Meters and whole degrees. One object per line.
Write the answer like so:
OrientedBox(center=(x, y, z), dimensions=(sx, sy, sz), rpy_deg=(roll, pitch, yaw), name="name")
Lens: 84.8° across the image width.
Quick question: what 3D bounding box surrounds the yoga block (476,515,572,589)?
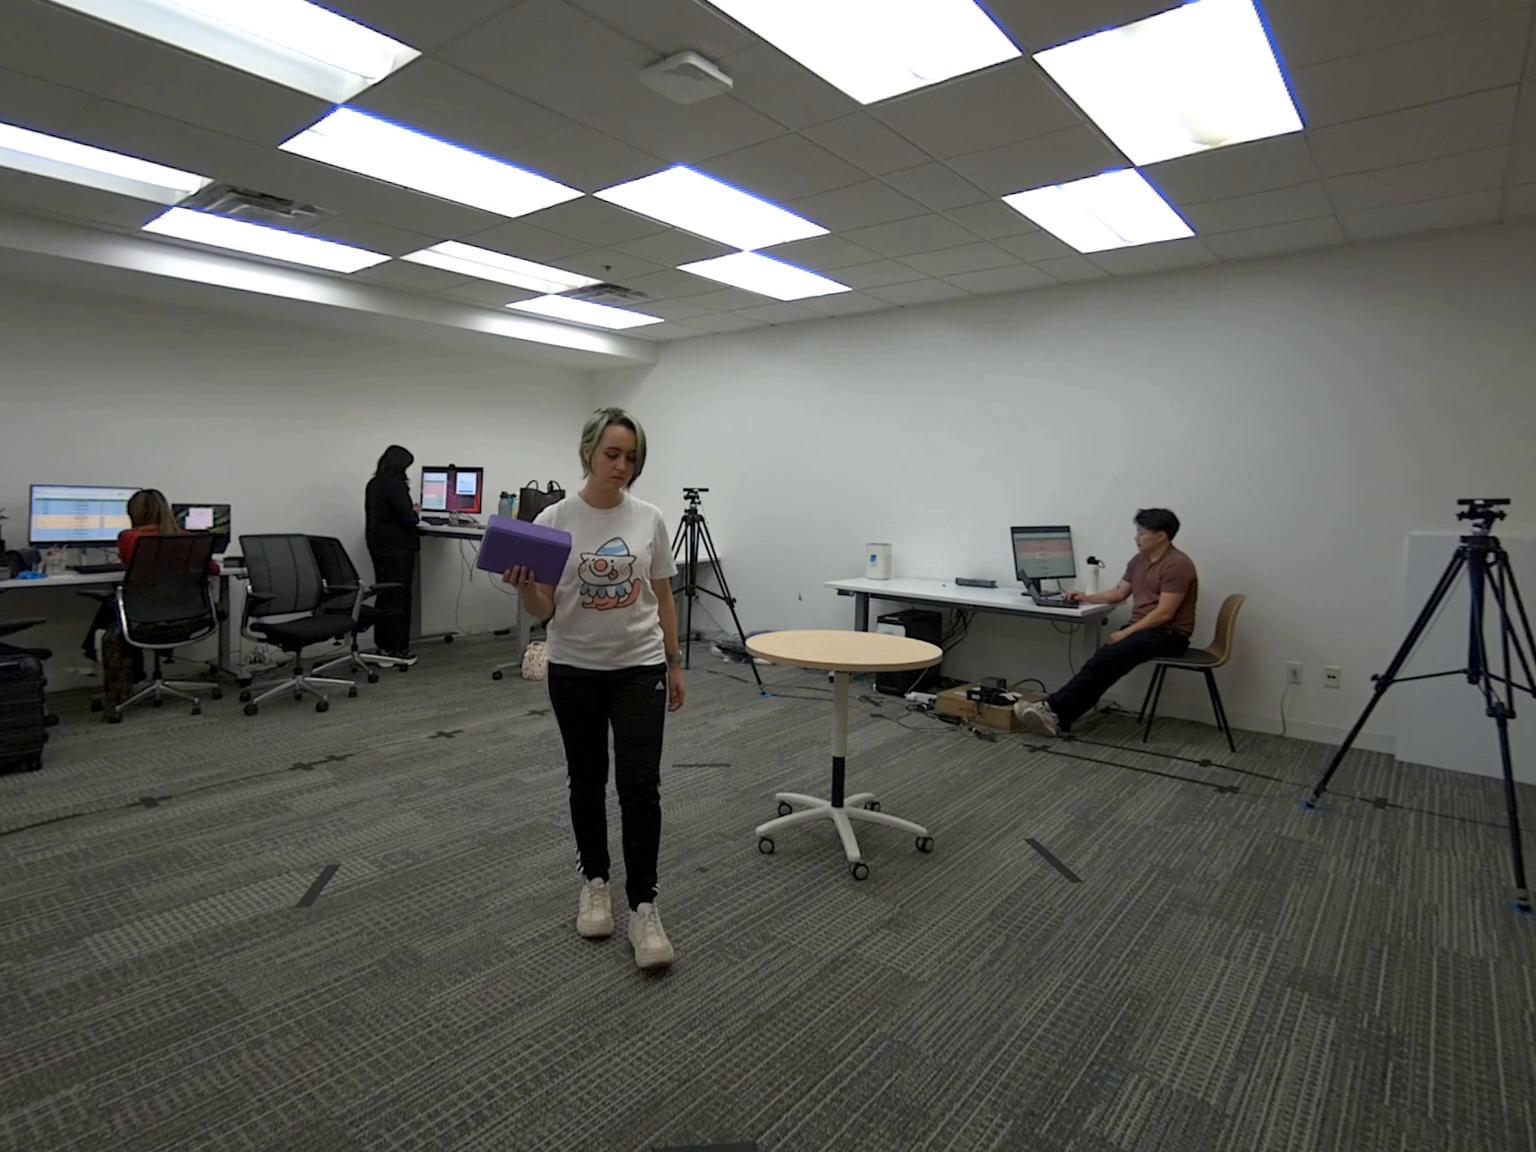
OrientedBox(center=(-0.691, -0.073, 2.333), dimensions=(0.224, 0.147, 0.079), rpy_deg=(14, 31, -21), name="yoga block")
